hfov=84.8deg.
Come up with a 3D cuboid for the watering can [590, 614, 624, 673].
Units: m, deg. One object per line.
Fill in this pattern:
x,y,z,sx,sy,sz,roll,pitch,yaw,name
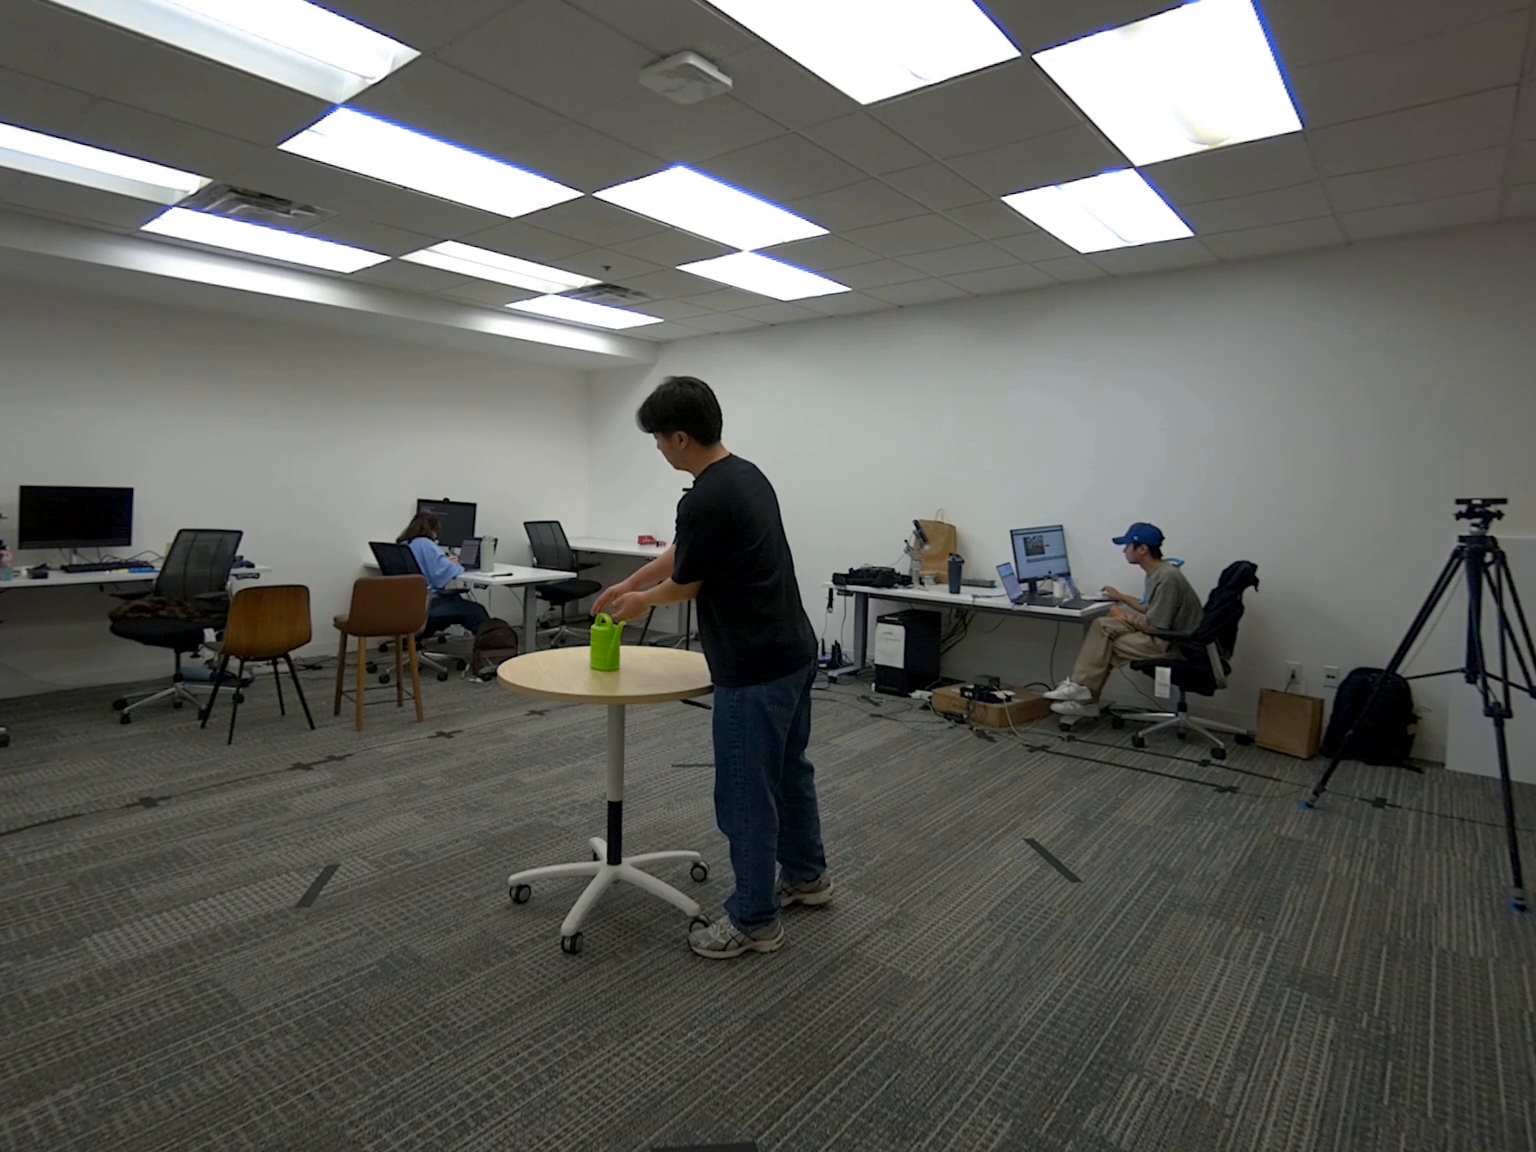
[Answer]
-0.537,0.217,2.749,0.097,0.176,0.282,1,4,-10,watering can
